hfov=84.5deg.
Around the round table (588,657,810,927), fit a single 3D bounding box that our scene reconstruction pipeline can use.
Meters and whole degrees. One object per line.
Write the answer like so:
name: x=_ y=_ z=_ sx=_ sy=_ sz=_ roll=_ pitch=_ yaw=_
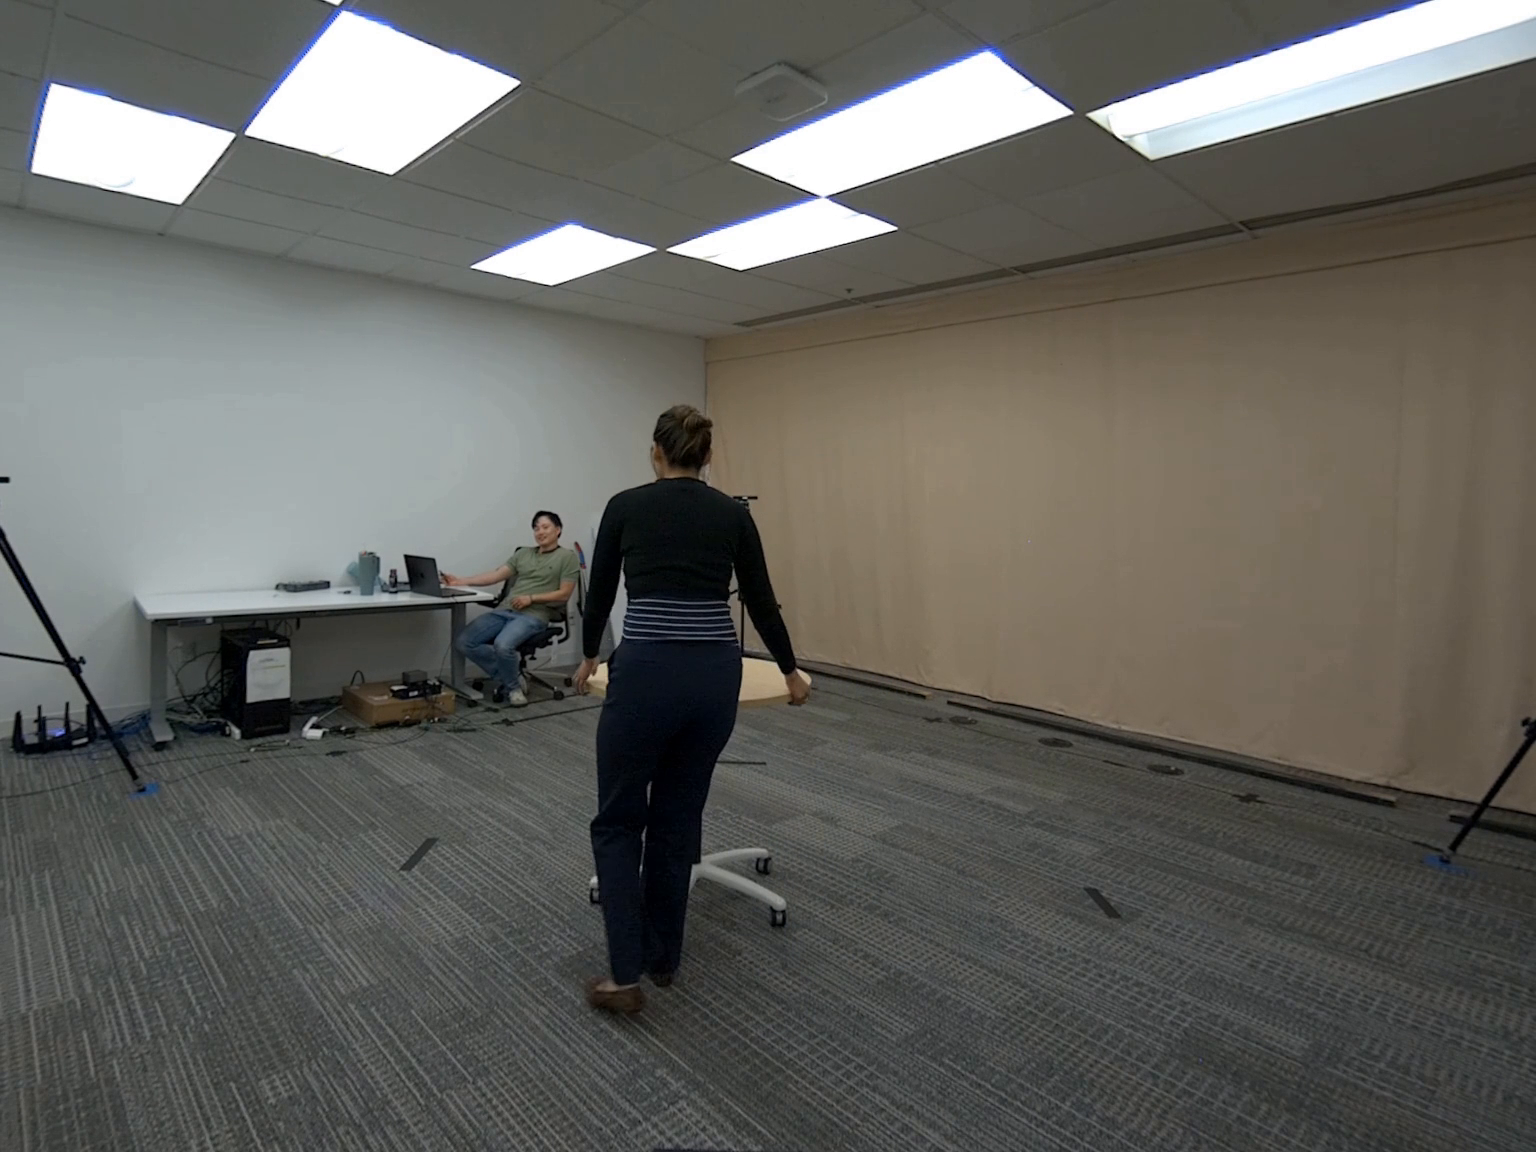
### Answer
round table: x=-0.250 y=0.735 z=2.872 sx=0.763 sy=0.792 sz=0.767 roll=1 pitch=4 yaw=-1
